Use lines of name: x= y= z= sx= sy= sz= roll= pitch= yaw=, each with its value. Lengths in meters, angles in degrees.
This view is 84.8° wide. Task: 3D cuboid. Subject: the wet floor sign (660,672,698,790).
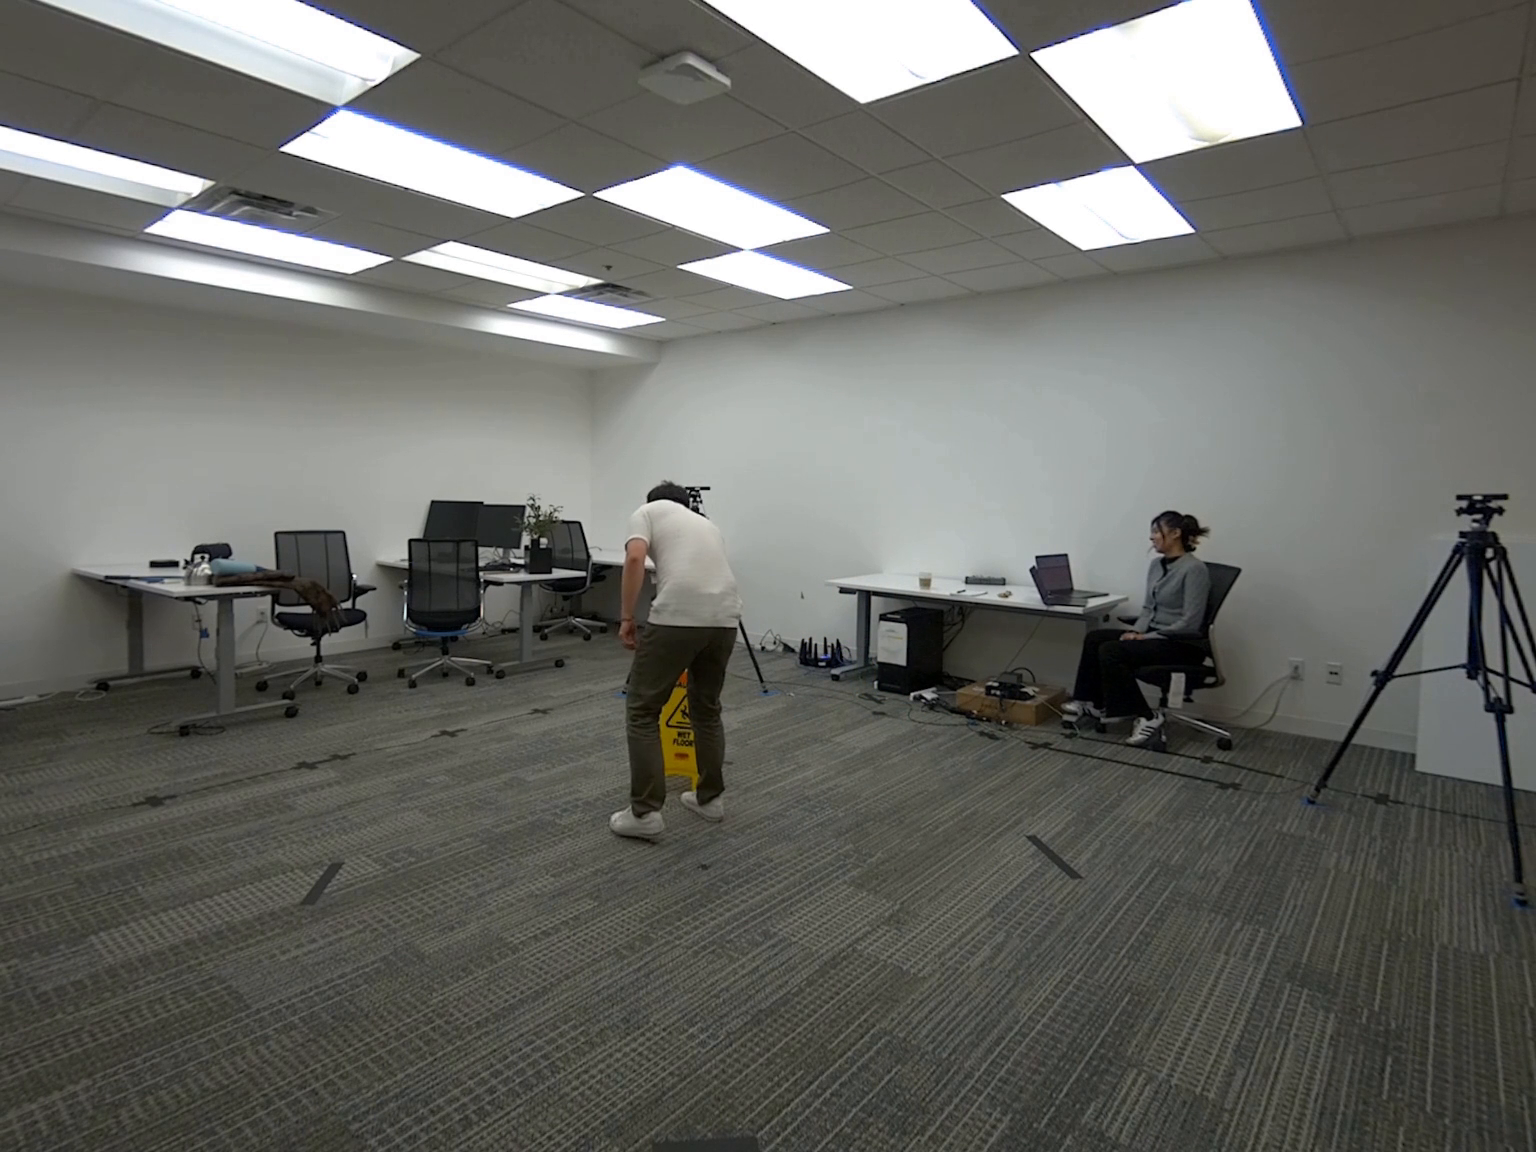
wet floor sign: x=-0.402 y=0.649 z=4.001 sx=0.284 sy=0.645 sz=0.288 roll=2 pitch=2 yaw=4
